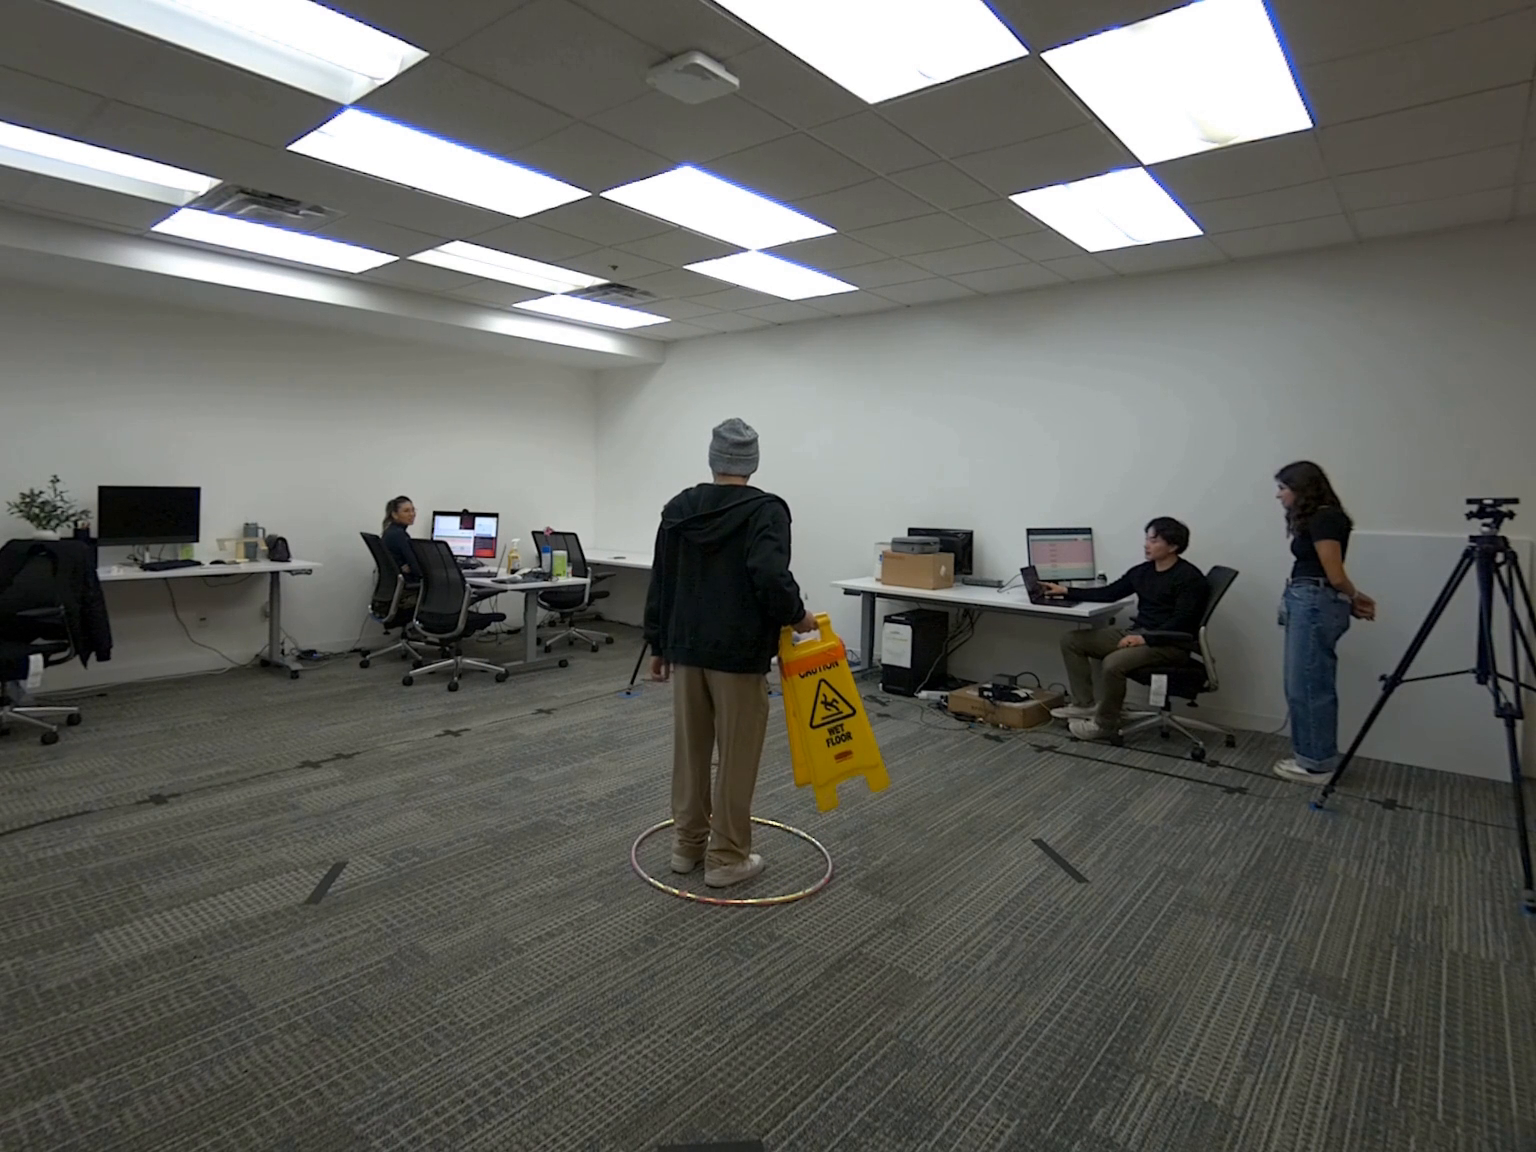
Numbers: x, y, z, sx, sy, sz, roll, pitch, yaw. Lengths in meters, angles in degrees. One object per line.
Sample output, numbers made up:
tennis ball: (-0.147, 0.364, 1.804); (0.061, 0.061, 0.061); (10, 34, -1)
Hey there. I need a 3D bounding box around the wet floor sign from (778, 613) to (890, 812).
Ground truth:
wet floor sign: (0.183, 0.462, 3.075); (0.279, 0.640, 0.295); (-14, 8, -13)
